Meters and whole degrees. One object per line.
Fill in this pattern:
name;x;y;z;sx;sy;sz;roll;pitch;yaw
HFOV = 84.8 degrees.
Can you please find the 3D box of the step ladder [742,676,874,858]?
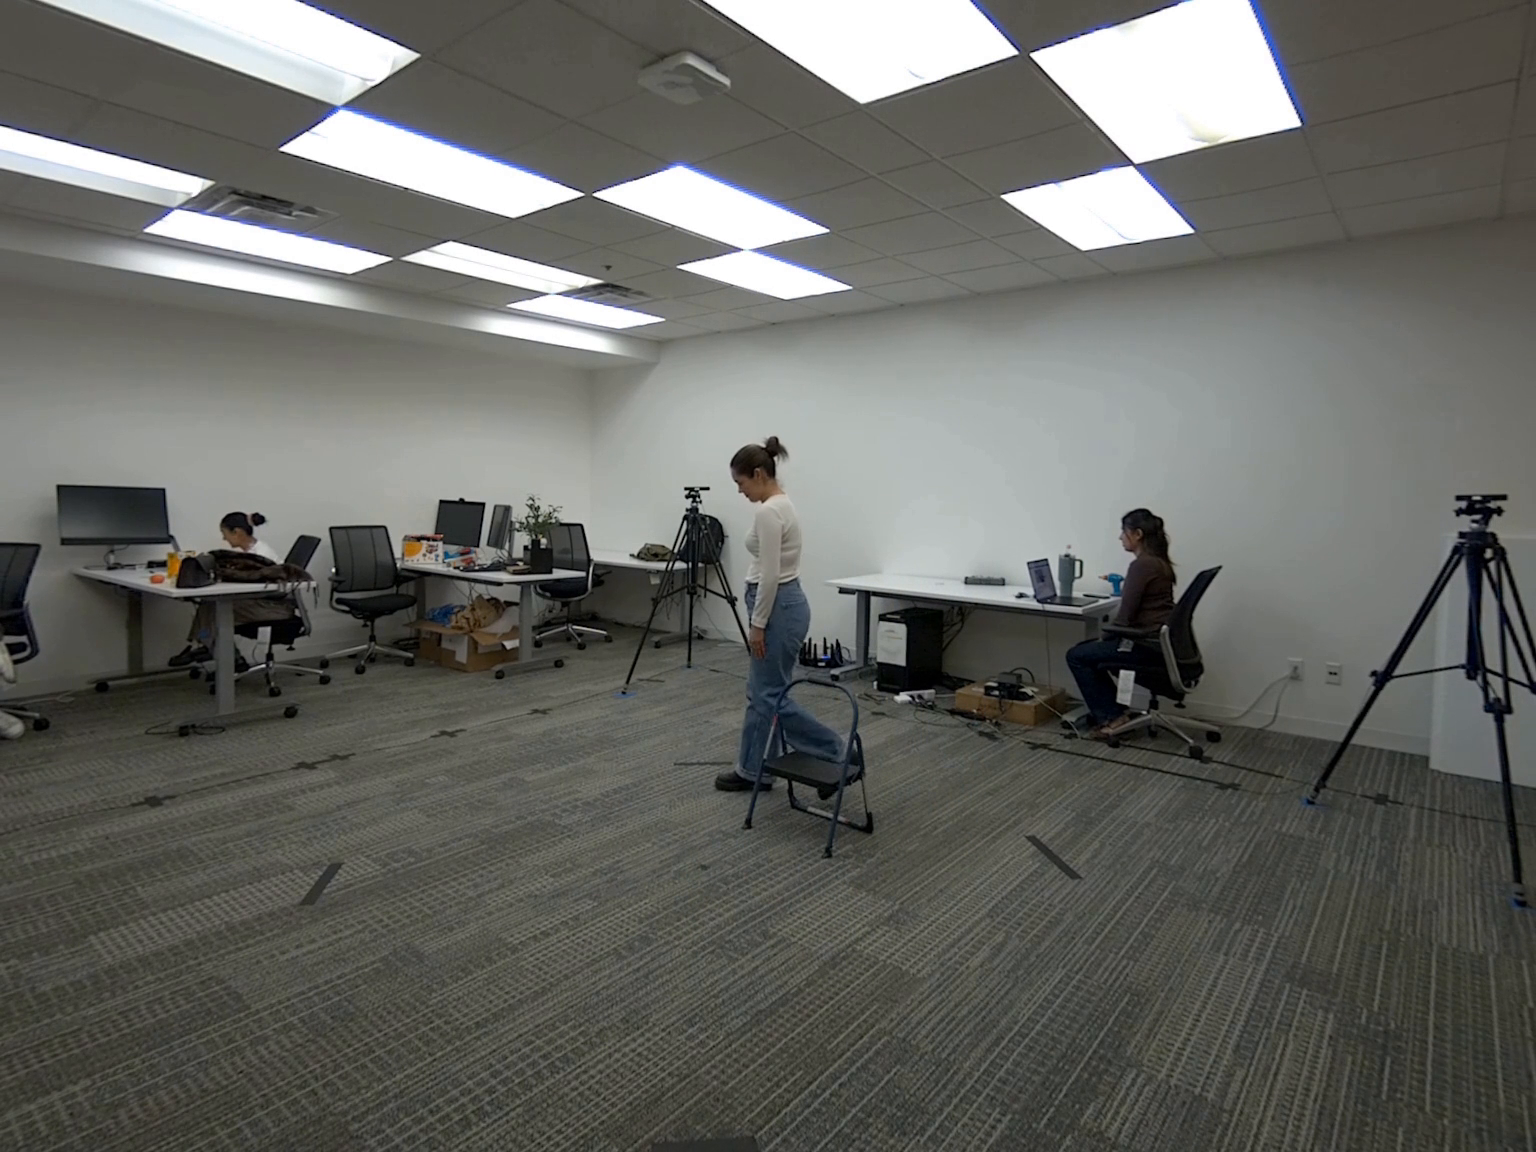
step ladder;0.165;0.733;3.462;0.445;0.604;0.339;4;4;39
